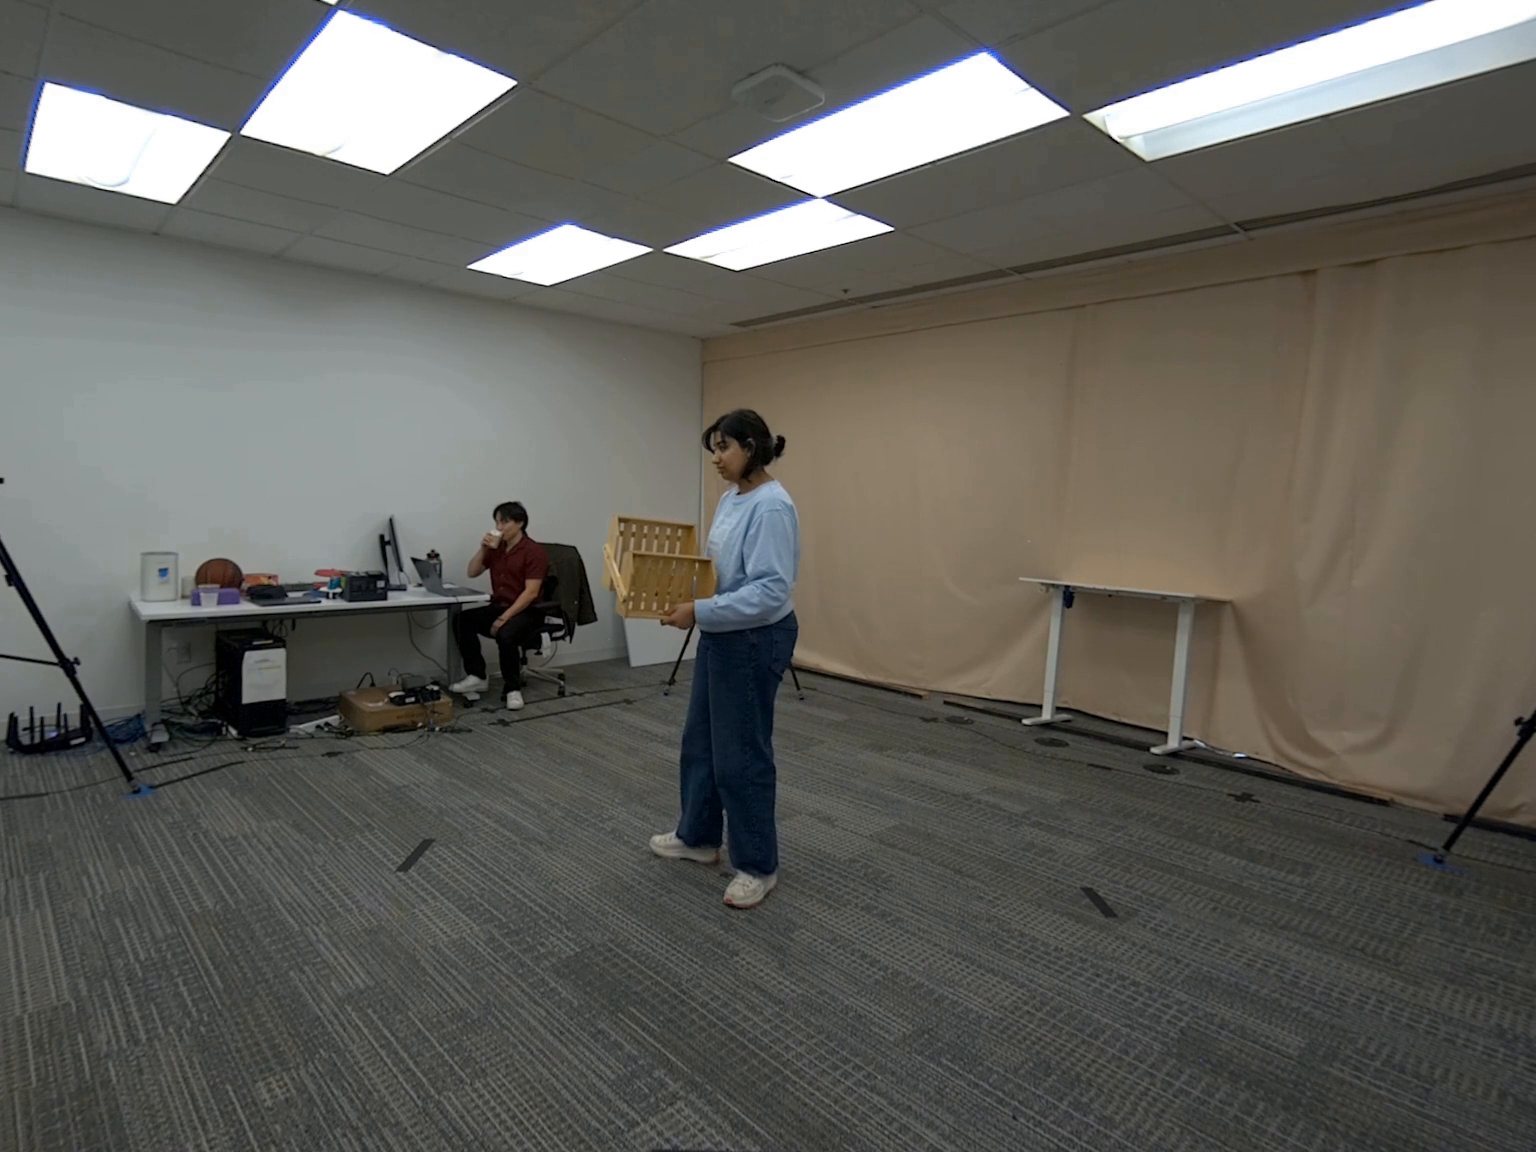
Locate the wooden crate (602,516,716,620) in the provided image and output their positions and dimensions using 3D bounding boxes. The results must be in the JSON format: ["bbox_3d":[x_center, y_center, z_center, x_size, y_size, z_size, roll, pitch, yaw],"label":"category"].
[{"bbox_3d":[-0.366,-0.030,2.802,0.317,0.301,0.280,5,7,-29],"label":"wooden crate"}]
